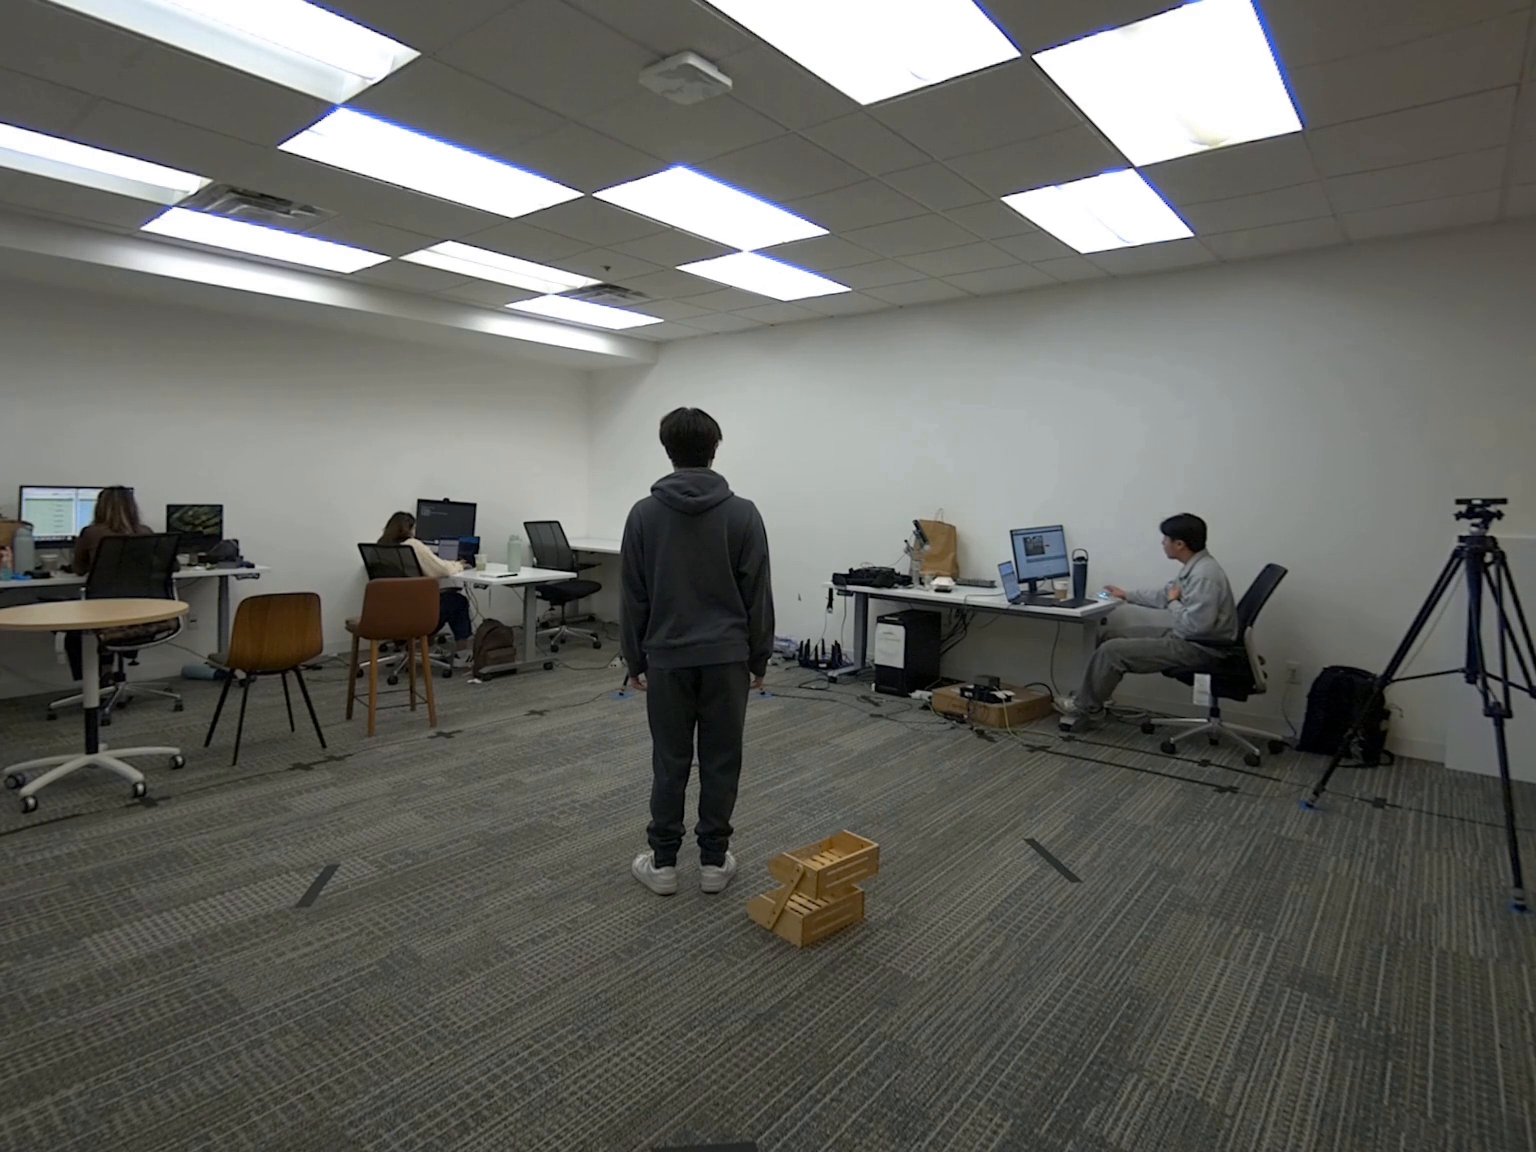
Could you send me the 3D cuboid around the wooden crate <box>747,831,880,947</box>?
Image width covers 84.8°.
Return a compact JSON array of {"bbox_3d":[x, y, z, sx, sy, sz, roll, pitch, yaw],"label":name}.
[{"bbox_3d":[0.135,0.978,2.751,0.314,0.272,0.312,-3,7,-44],"label":"wooden crate"}]
